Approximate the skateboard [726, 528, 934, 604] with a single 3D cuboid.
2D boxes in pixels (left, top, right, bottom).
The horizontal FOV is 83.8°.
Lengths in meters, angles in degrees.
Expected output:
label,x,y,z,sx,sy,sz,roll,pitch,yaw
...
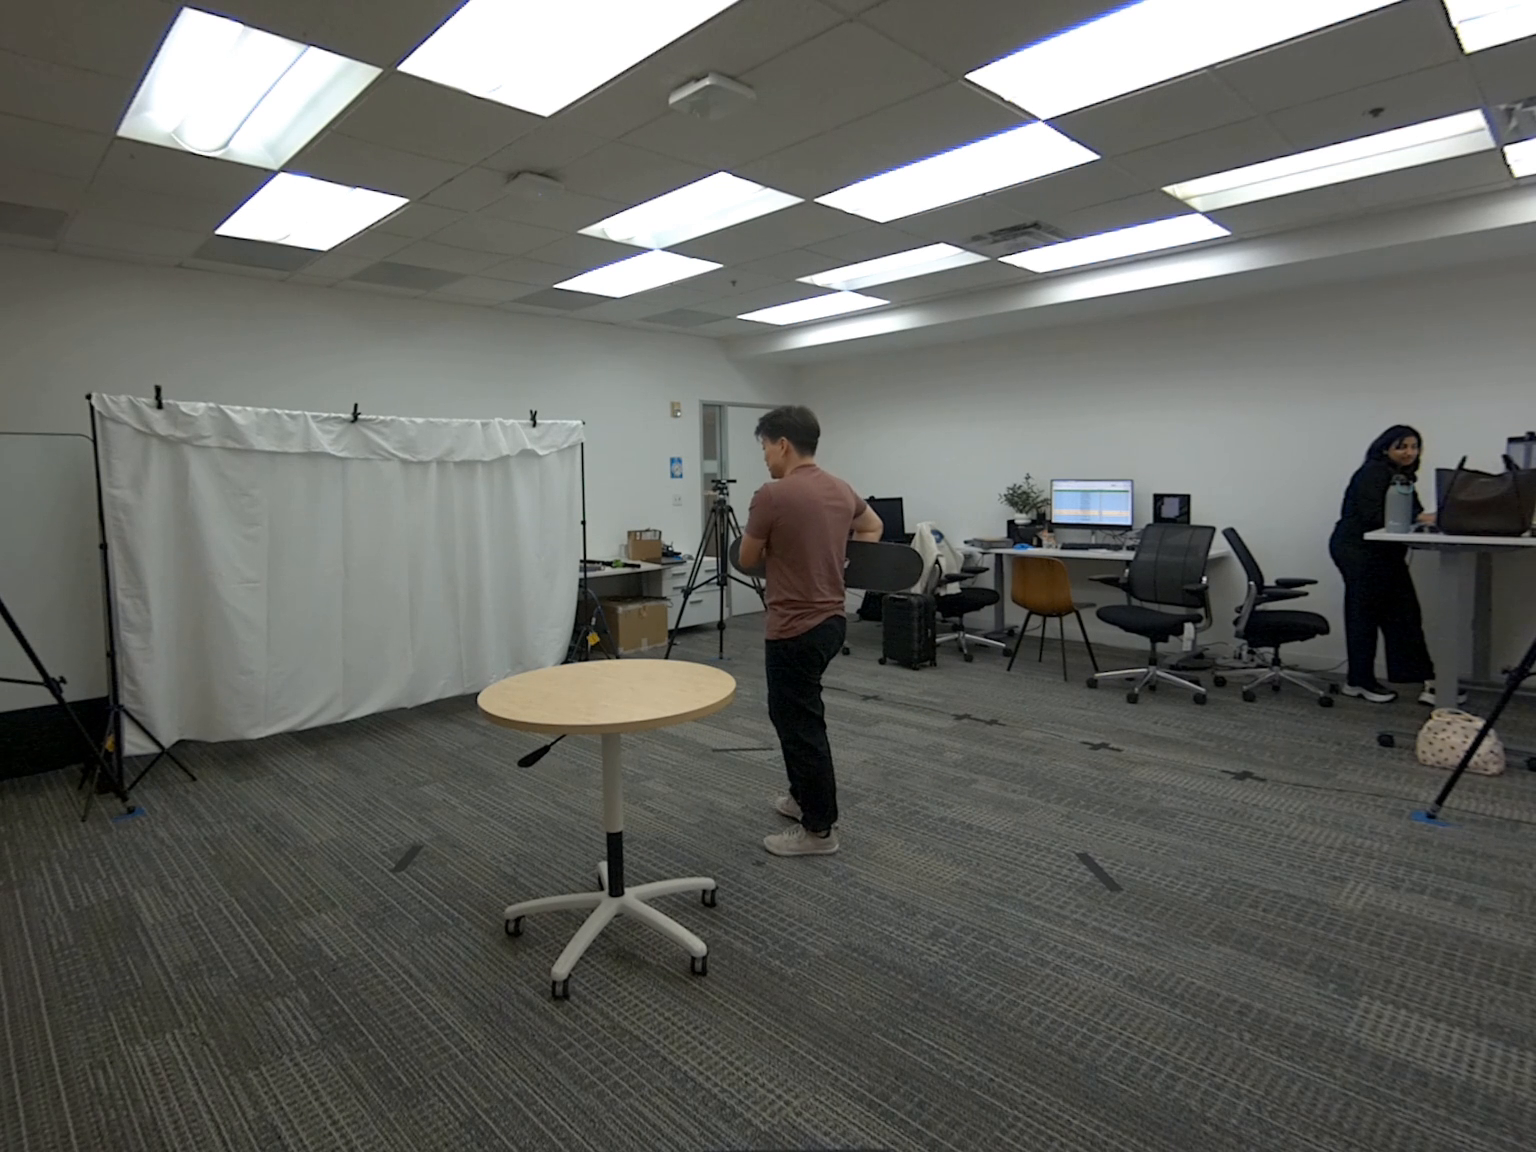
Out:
label,x,y,z,sx,sy,sz,roll,pitch,yaw
skateboard,0.234,-0.047,3.388,0.803,0.195,0.107,6,-15,22
